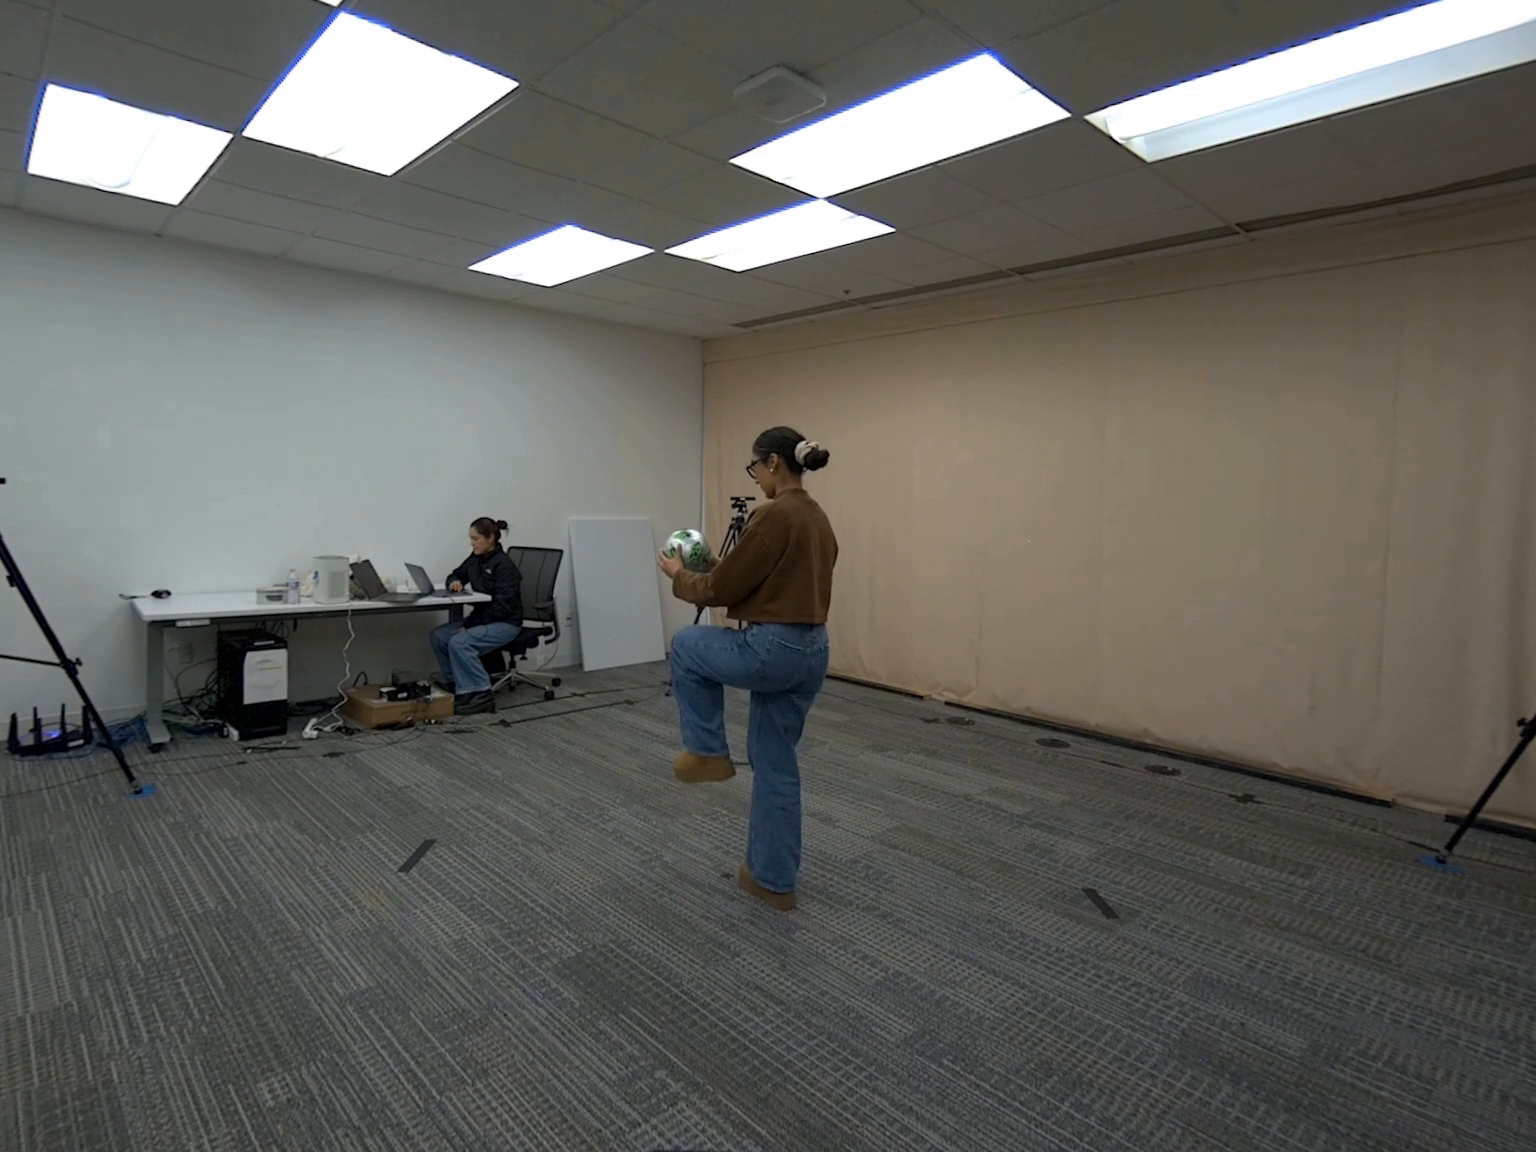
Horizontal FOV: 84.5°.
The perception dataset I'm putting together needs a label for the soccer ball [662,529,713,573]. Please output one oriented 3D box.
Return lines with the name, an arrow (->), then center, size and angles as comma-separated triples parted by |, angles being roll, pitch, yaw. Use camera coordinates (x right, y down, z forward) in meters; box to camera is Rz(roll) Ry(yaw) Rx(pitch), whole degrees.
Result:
soccer ball -> -0.301, -0.076, 3.065 | 0.187, 0.187, 0.188 | 1, 4, -1
